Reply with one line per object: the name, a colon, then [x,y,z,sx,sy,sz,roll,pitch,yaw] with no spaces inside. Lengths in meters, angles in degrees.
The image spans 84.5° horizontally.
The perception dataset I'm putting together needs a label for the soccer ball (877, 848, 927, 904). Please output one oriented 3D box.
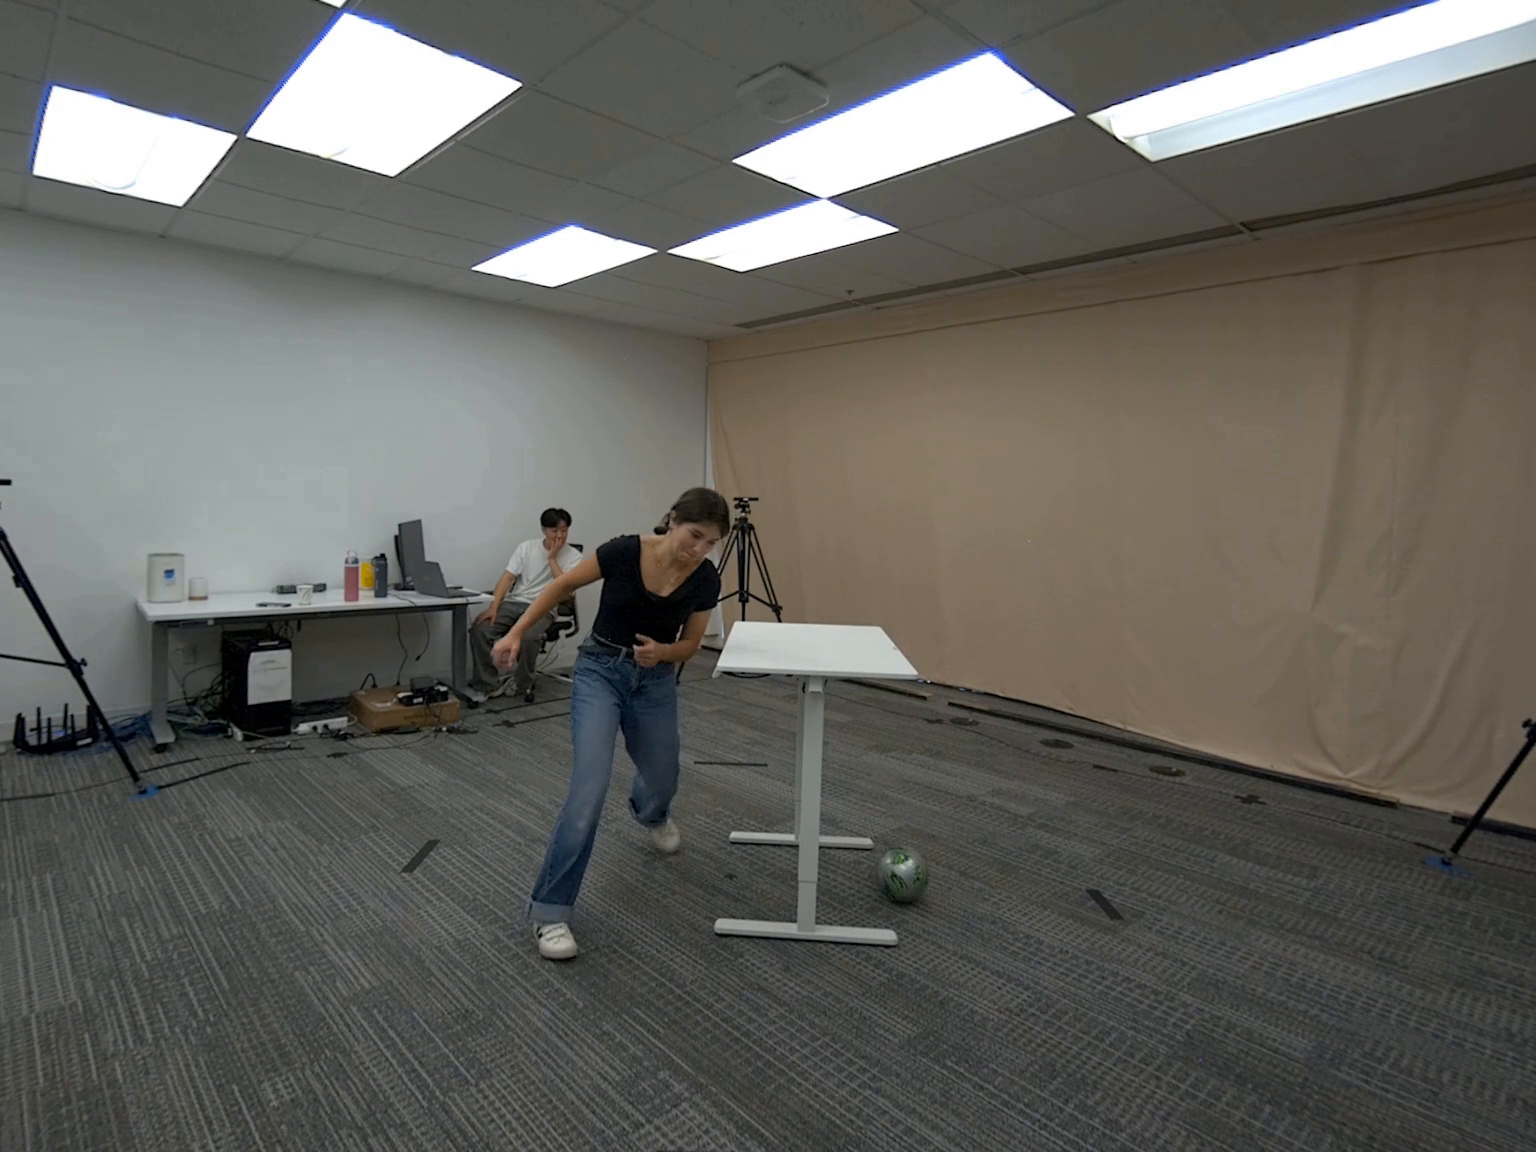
soccer ball: [0.461,1.046,2.945,0.187,0.187,0.188,1,4,-1]
